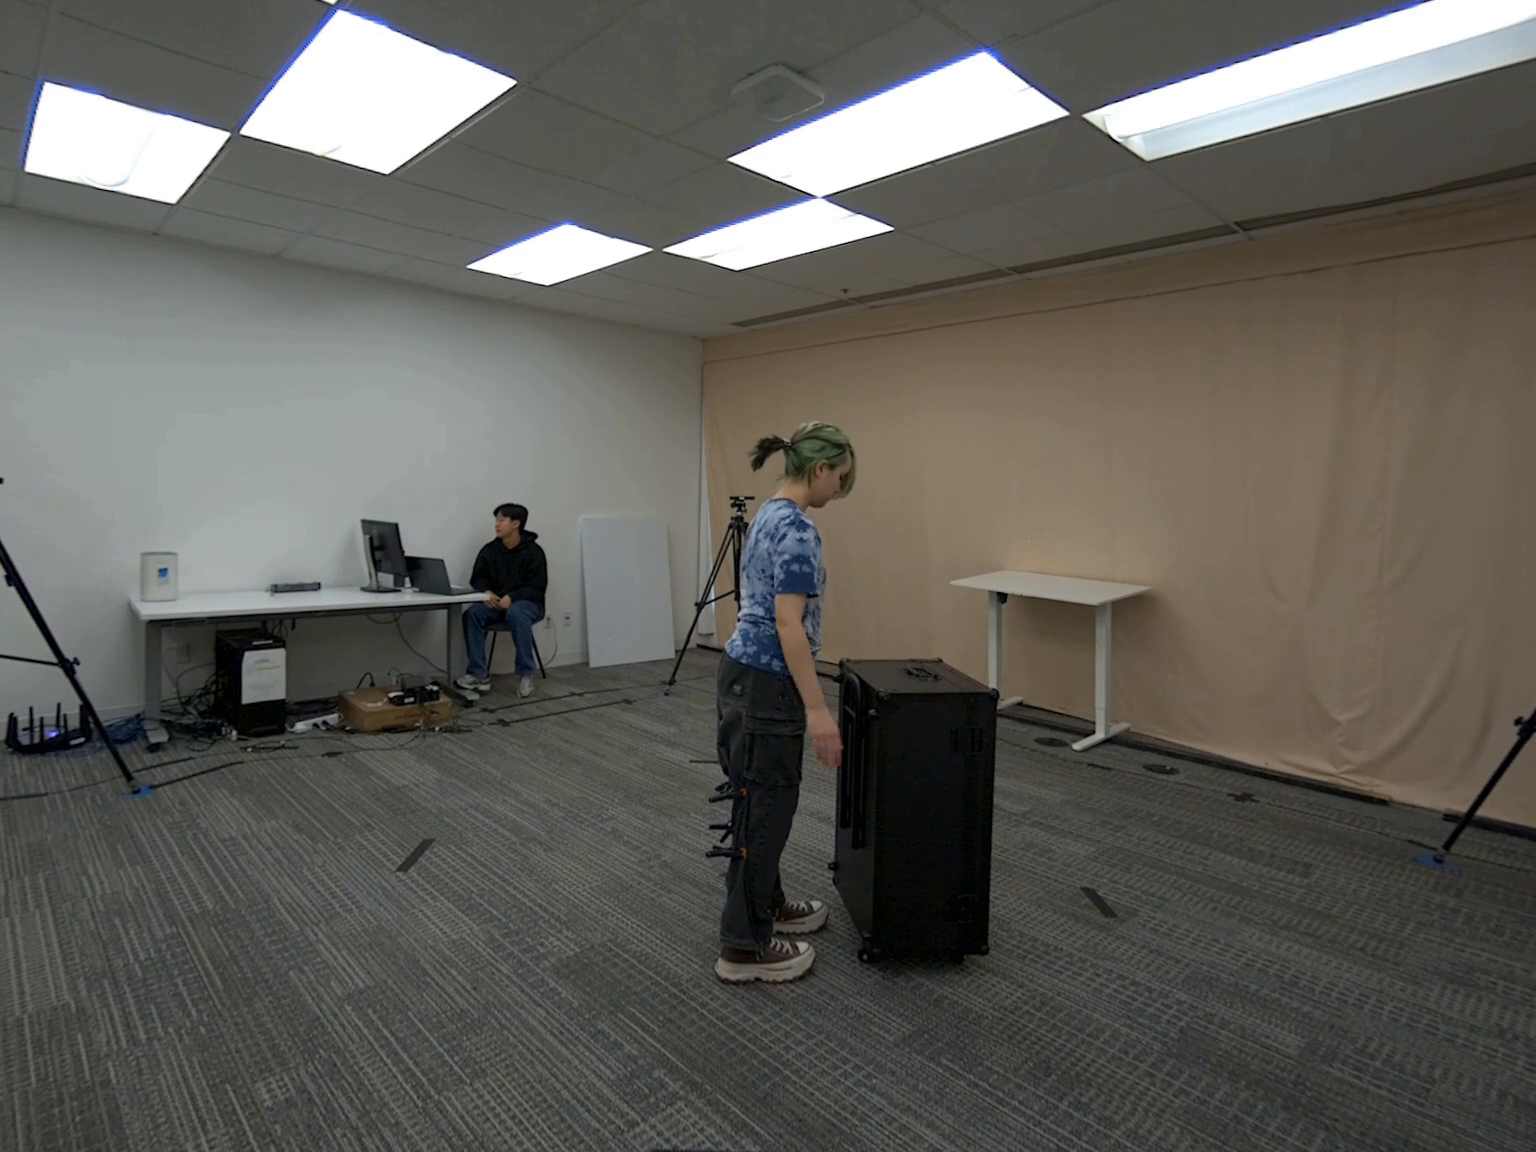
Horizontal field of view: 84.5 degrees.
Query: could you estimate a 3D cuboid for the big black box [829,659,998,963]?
[{"bbox_3d":[0.431,0.738,2.657,0.394,0.858,0.526,0,5,-7],"label":"big black box"}]
